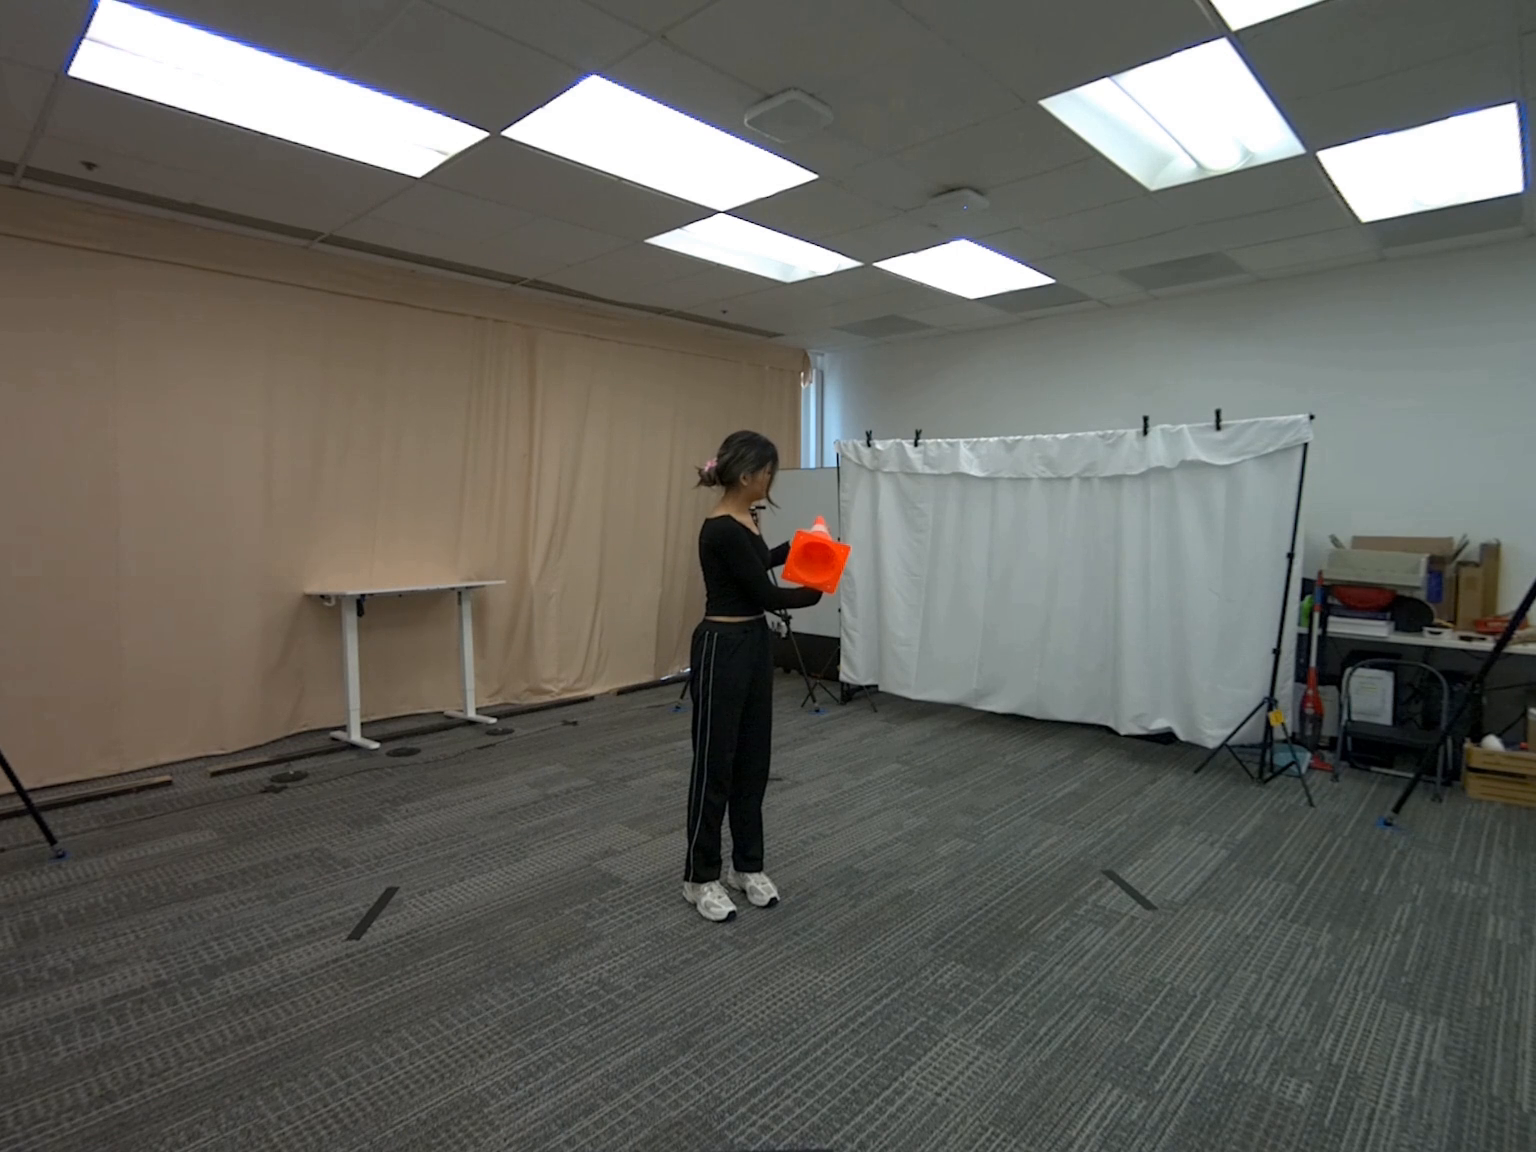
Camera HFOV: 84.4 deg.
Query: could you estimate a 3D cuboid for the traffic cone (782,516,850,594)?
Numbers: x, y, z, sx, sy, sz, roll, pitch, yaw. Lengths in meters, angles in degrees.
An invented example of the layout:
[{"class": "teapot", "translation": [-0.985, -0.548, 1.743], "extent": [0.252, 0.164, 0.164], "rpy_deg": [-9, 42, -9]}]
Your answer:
[{"class": "traffic cone", "translation": [0.188, -0.121, 3.108], "extent": [0.204, 0.202, 0.387], "rpy_deg": [16, 26, -3]}]
